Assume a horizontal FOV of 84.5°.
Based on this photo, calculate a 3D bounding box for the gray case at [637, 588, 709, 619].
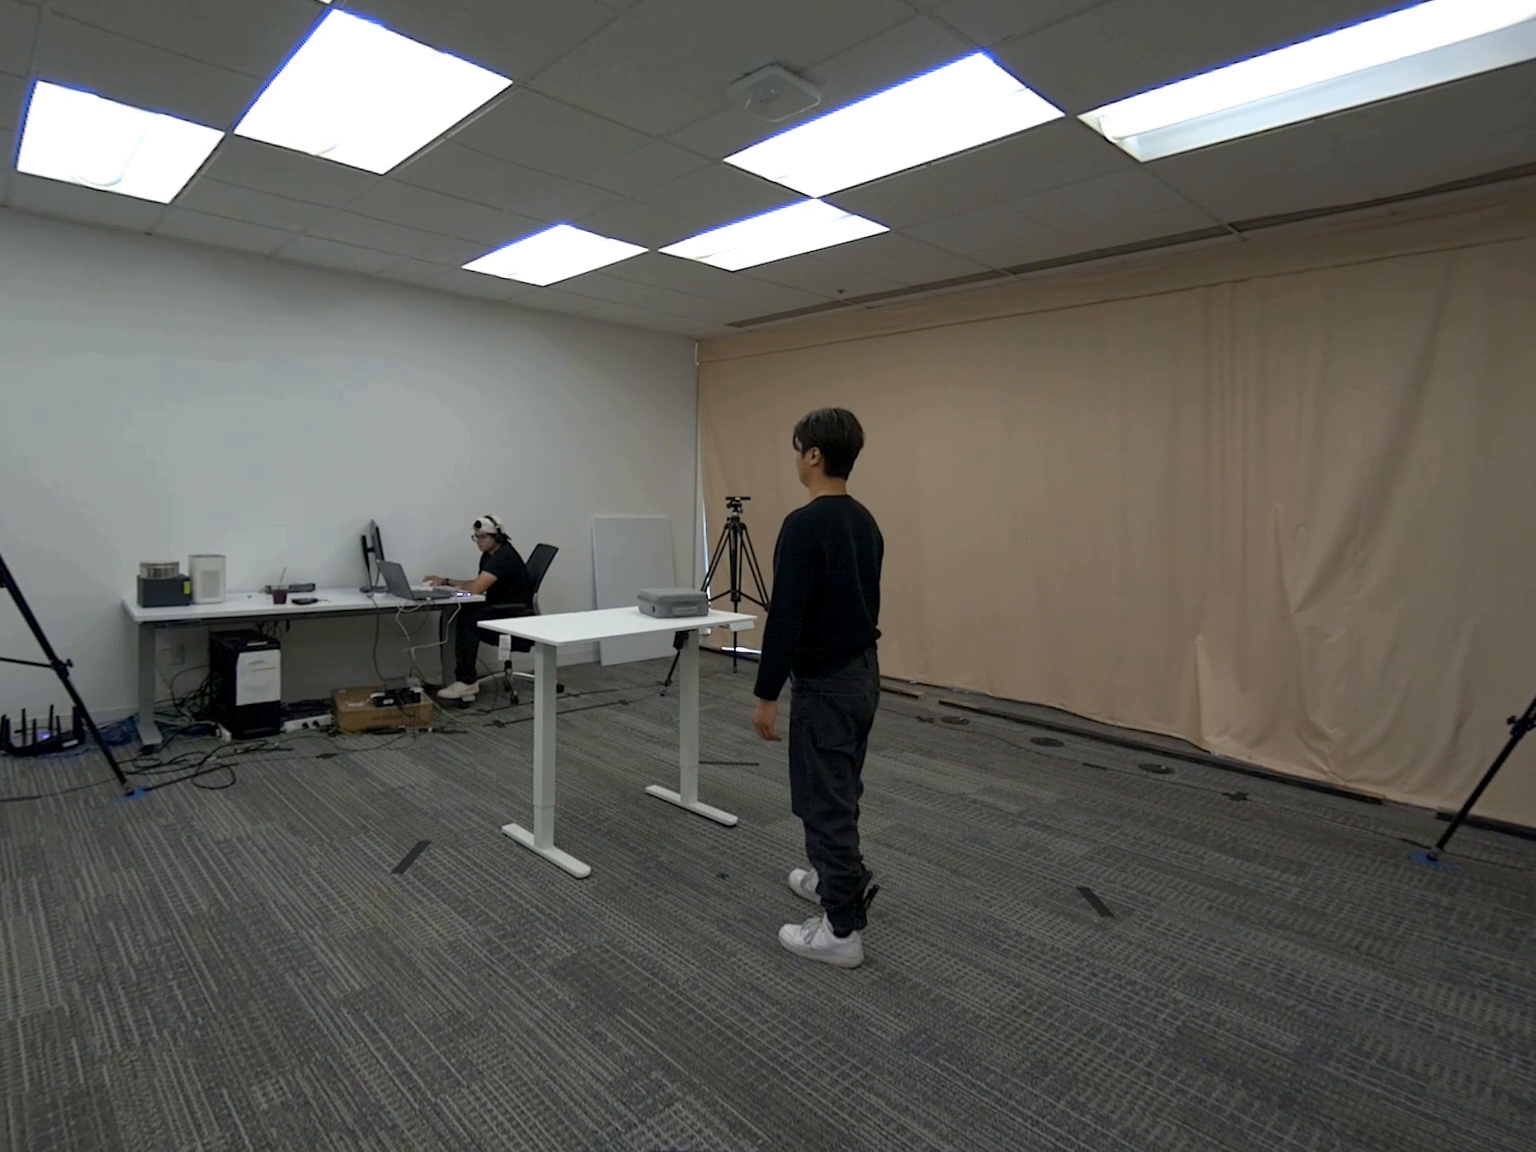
[{"bbox_3d":[-0.417,0.112,3.664,0.252,0.104,0.266,0,6,-27],"label":"gray case"}]
